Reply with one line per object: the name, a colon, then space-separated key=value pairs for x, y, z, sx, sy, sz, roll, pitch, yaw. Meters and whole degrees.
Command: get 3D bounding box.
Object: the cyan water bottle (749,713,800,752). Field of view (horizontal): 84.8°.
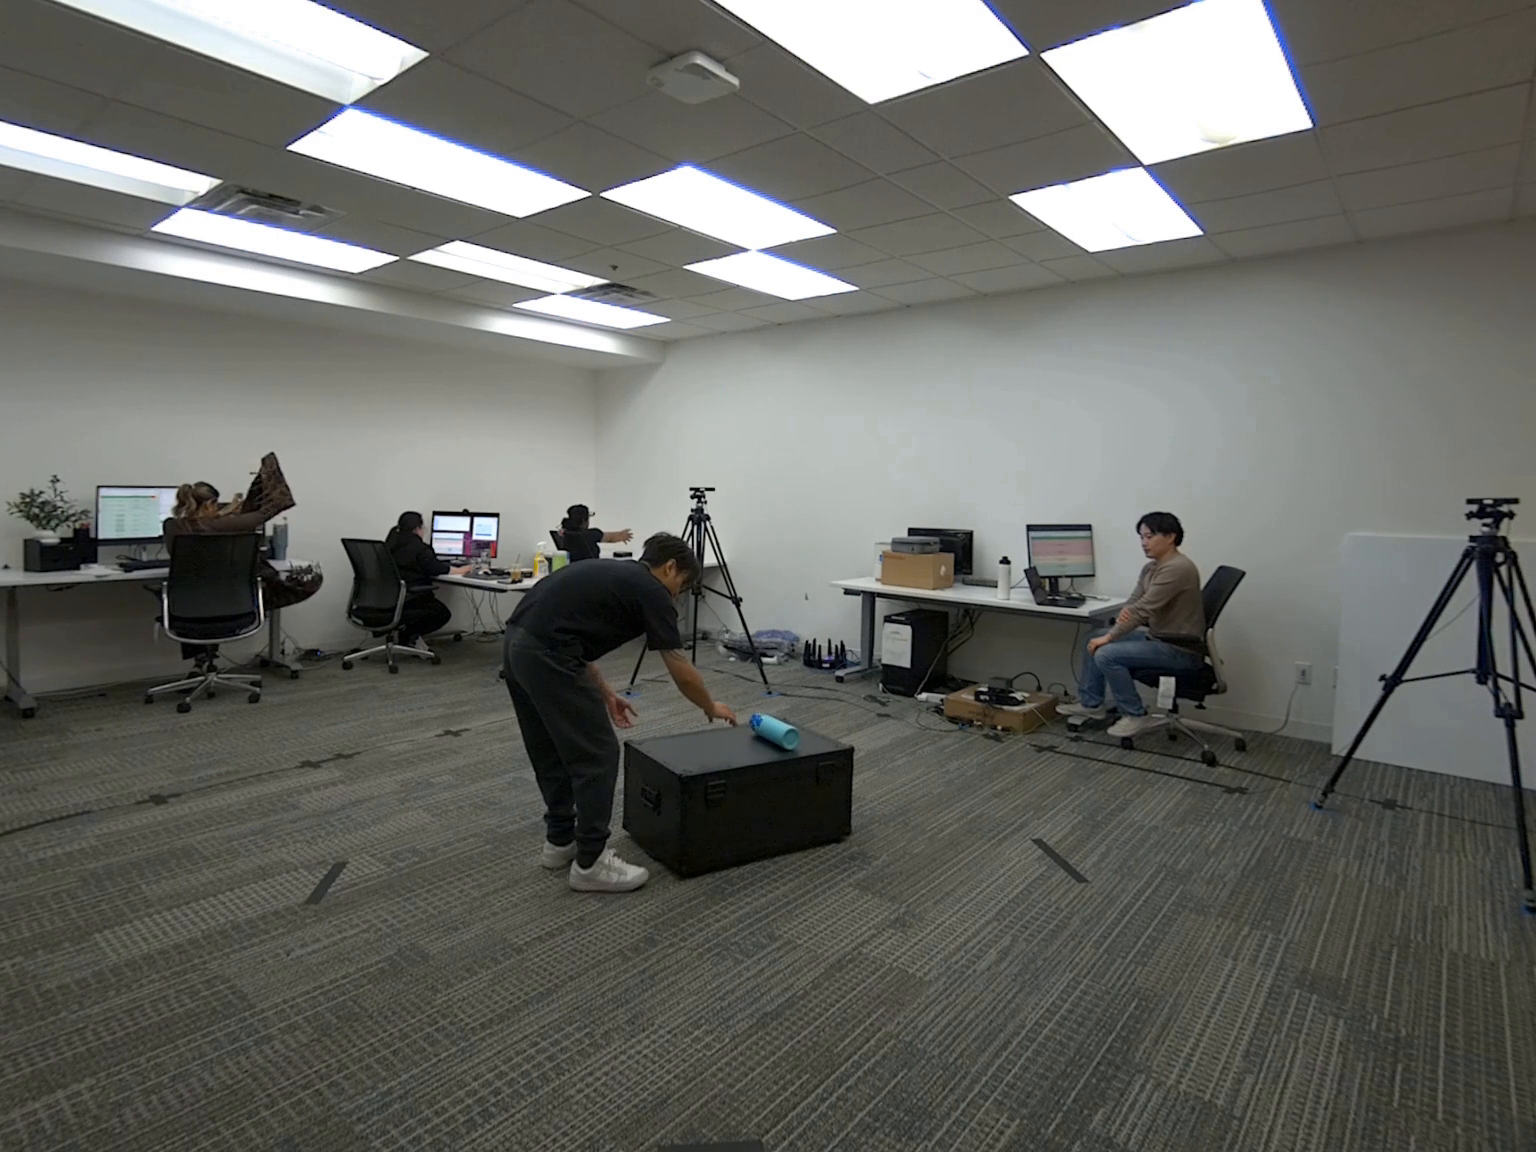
cyan water bottle: x=0.005 y=0.614 z=3.440 sx=0.090 sy=0.092 sz=0.292 roll=-1 pitch=6 yaw=-30
